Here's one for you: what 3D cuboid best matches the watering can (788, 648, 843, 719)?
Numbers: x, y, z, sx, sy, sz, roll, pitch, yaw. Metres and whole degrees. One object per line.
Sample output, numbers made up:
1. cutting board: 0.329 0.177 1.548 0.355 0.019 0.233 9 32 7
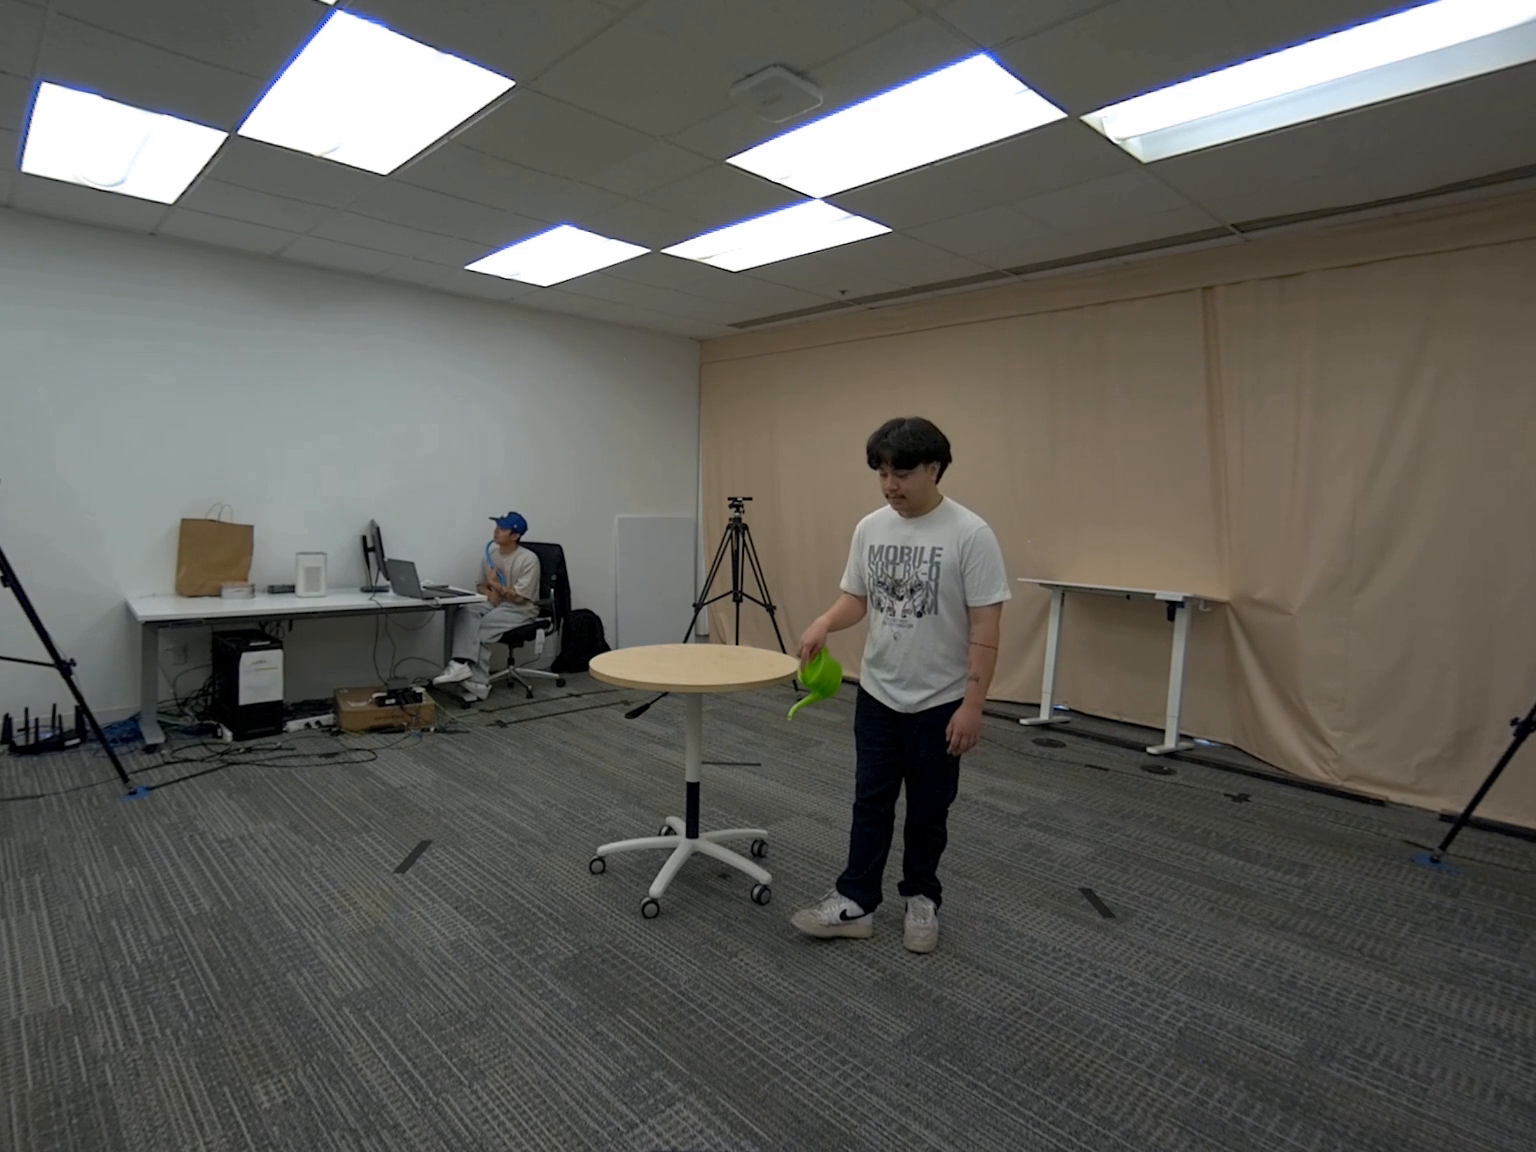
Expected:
1. watering can: 0.127 0.335 2.661 0.101 0.279 0.171 17 -17 42
